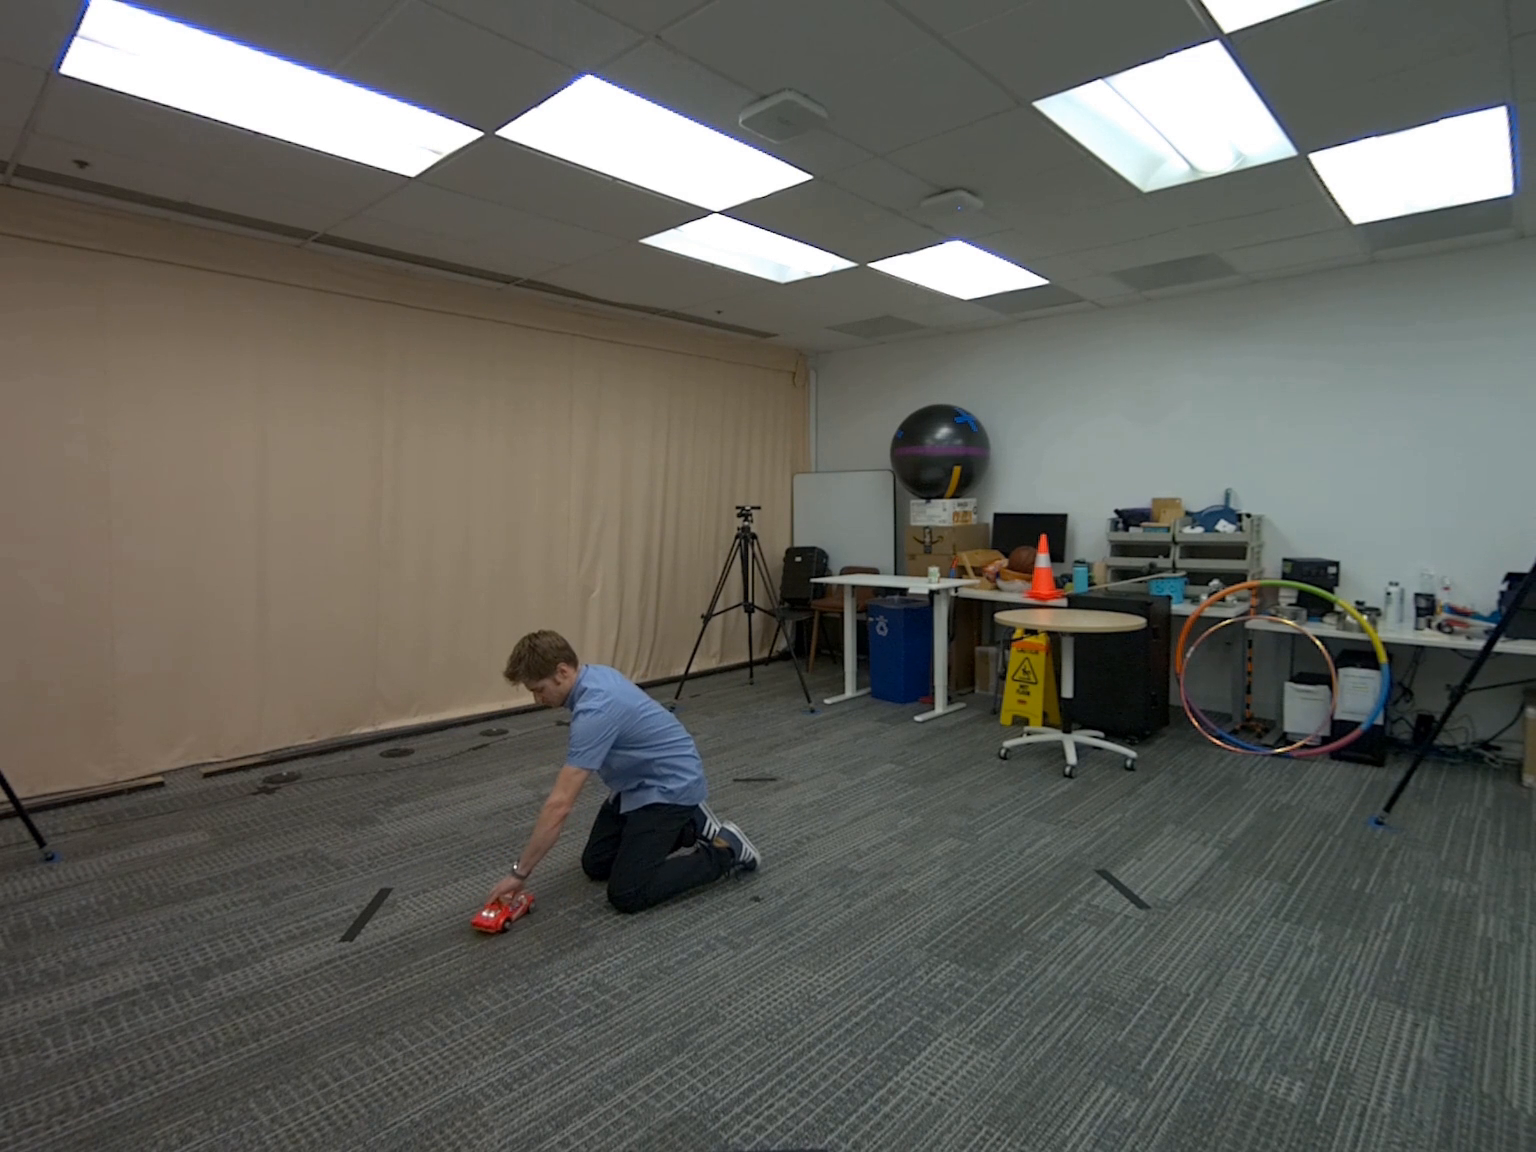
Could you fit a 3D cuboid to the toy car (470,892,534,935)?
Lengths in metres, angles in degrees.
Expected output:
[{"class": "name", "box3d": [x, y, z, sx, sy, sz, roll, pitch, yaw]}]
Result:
[{"class": "toy car", "box3d": [-0.892, 1.137, 2.817, 0.133, 0.083, 0.248, 1, -7, 19]}]
